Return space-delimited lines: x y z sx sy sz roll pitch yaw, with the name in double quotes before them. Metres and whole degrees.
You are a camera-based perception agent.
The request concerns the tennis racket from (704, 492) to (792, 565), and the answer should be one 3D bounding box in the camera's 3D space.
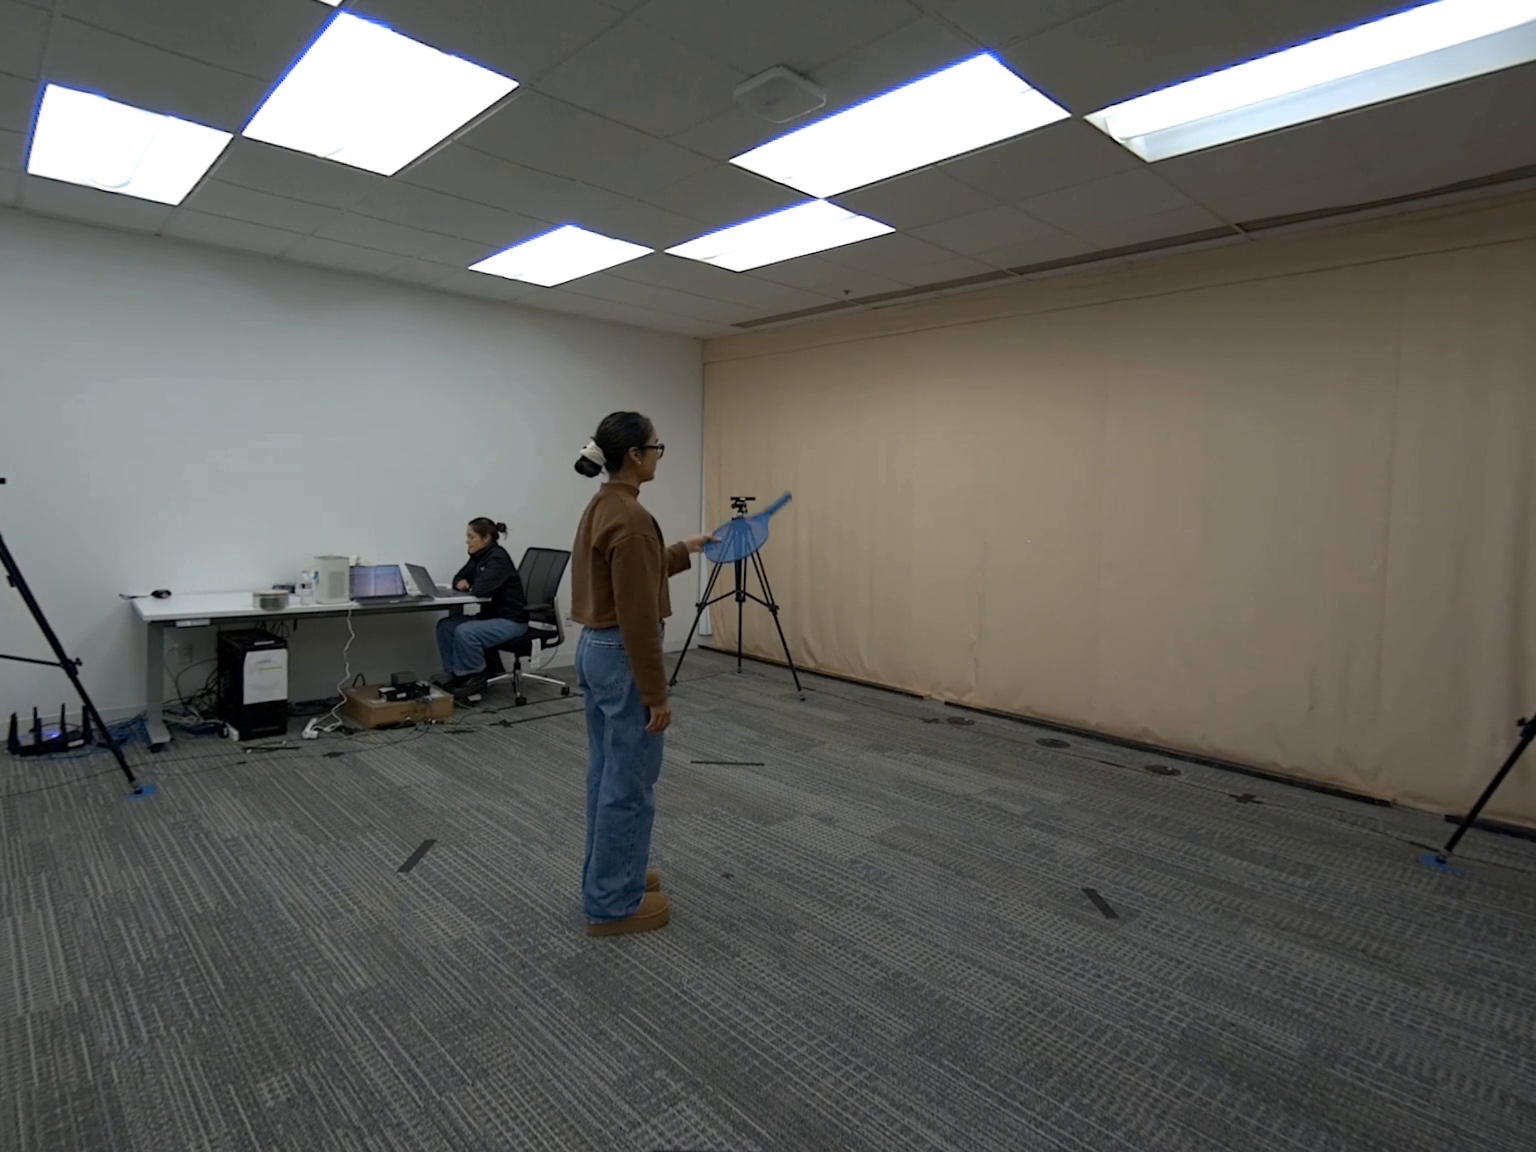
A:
"tennis racket" -0.085 -0.171 3.071 0.220 0.031 0.432 26 57 34
